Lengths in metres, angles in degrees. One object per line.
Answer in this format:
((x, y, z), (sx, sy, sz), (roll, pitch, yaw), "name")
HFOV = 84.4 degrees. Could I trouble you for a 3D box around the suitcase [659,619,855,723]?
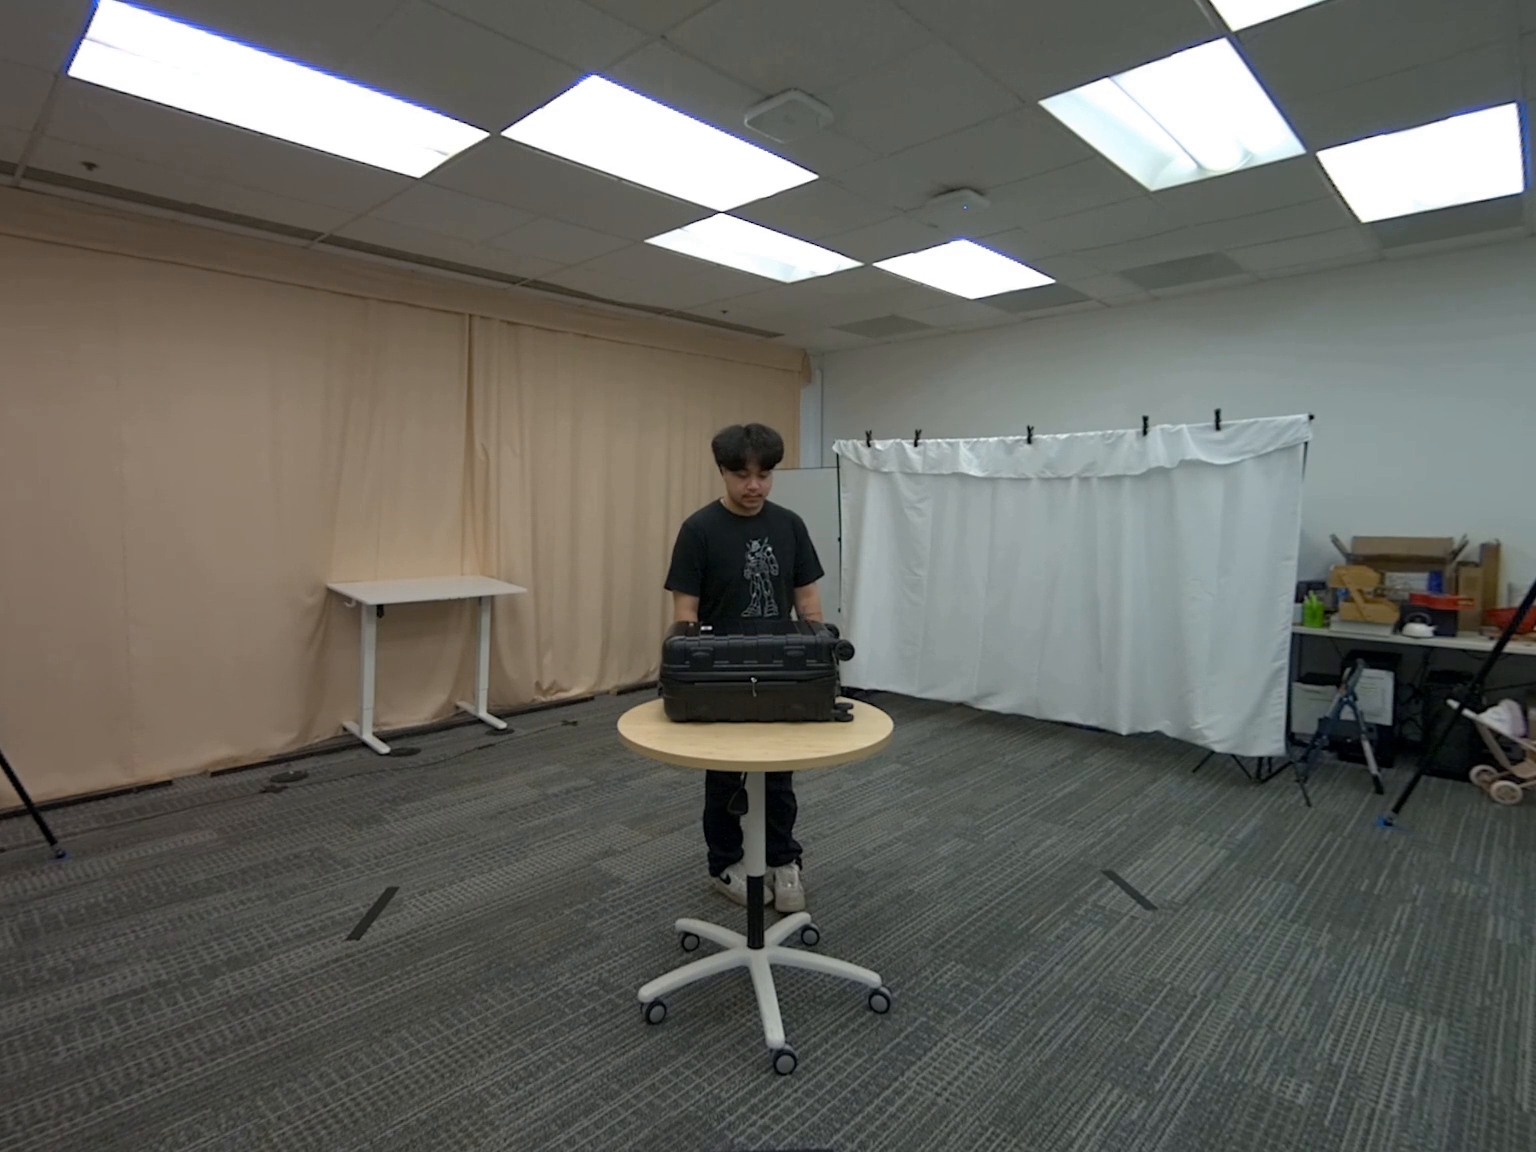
((-0.043, 0.275, 2.464), (0.549, 0.247, 0.377), (-1, 6, -1), "suitcase")
